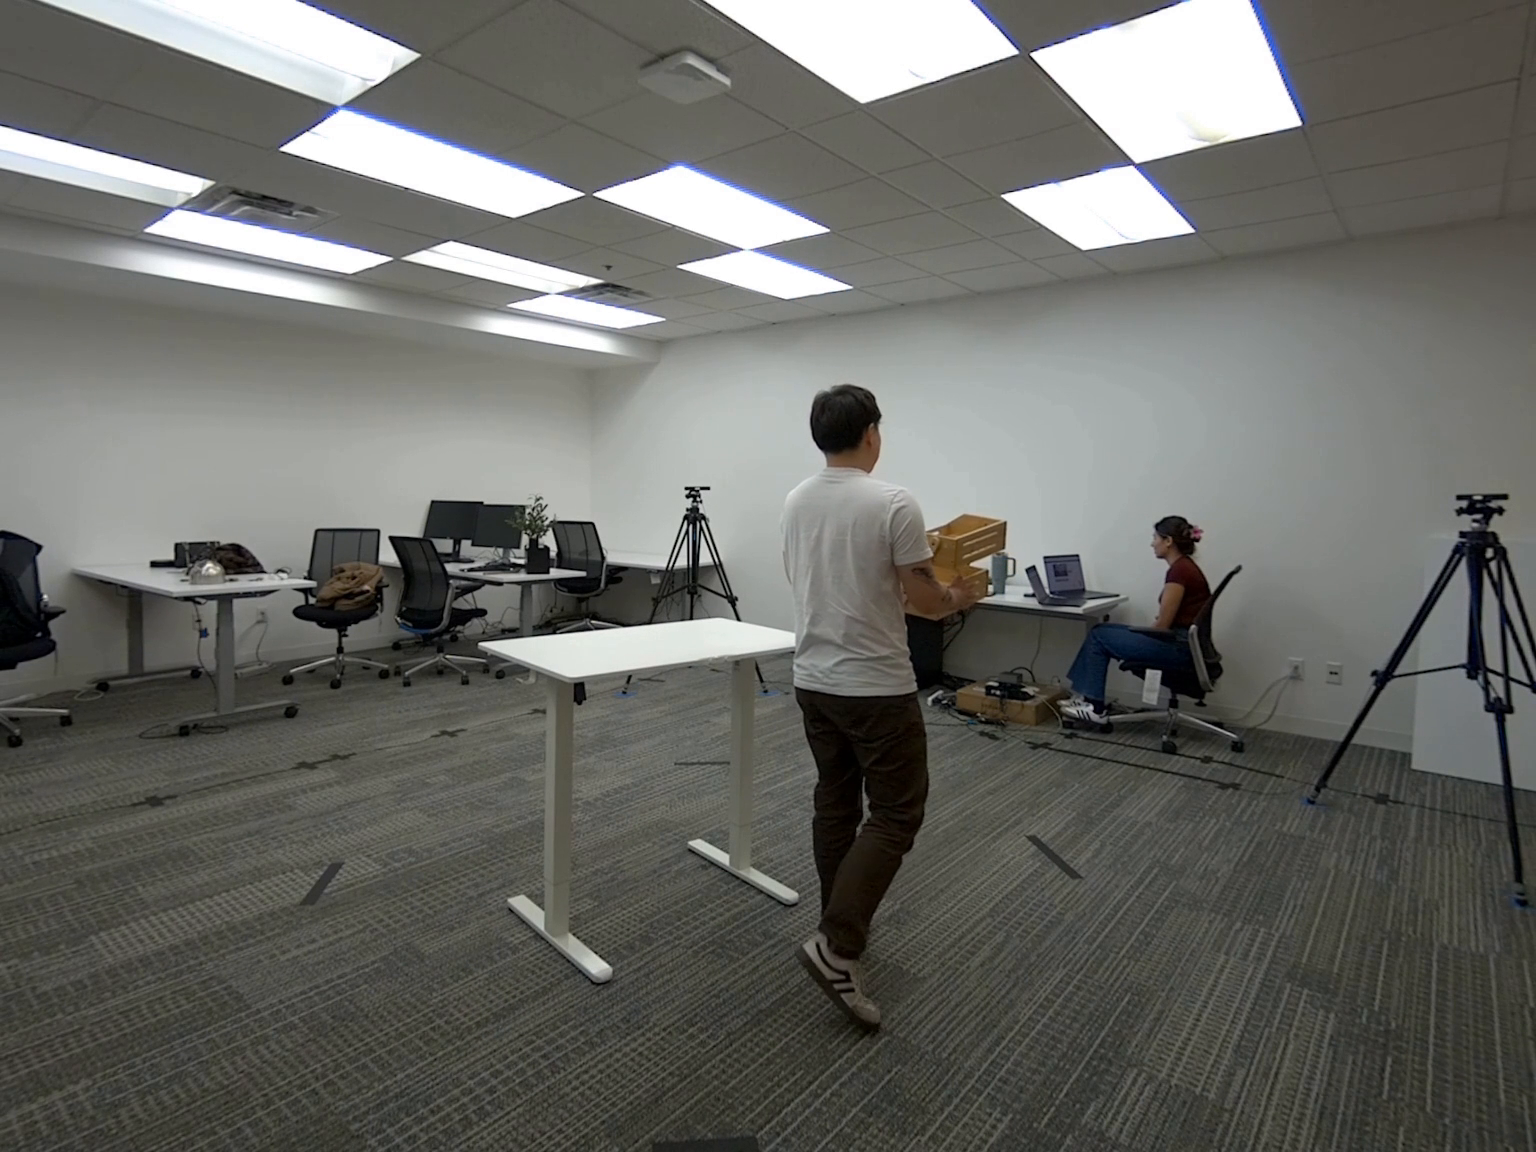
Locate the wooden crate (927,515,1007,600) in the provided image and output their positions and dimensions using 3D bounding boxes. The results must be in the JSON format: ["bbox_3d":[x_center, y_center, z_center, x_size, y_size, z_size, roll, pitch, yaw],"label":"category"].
[{"bbox_3d":[0.528,-0.047,2.657,0.313,0.269,0.317,13,21,41],"label":"wooden crate"}]
